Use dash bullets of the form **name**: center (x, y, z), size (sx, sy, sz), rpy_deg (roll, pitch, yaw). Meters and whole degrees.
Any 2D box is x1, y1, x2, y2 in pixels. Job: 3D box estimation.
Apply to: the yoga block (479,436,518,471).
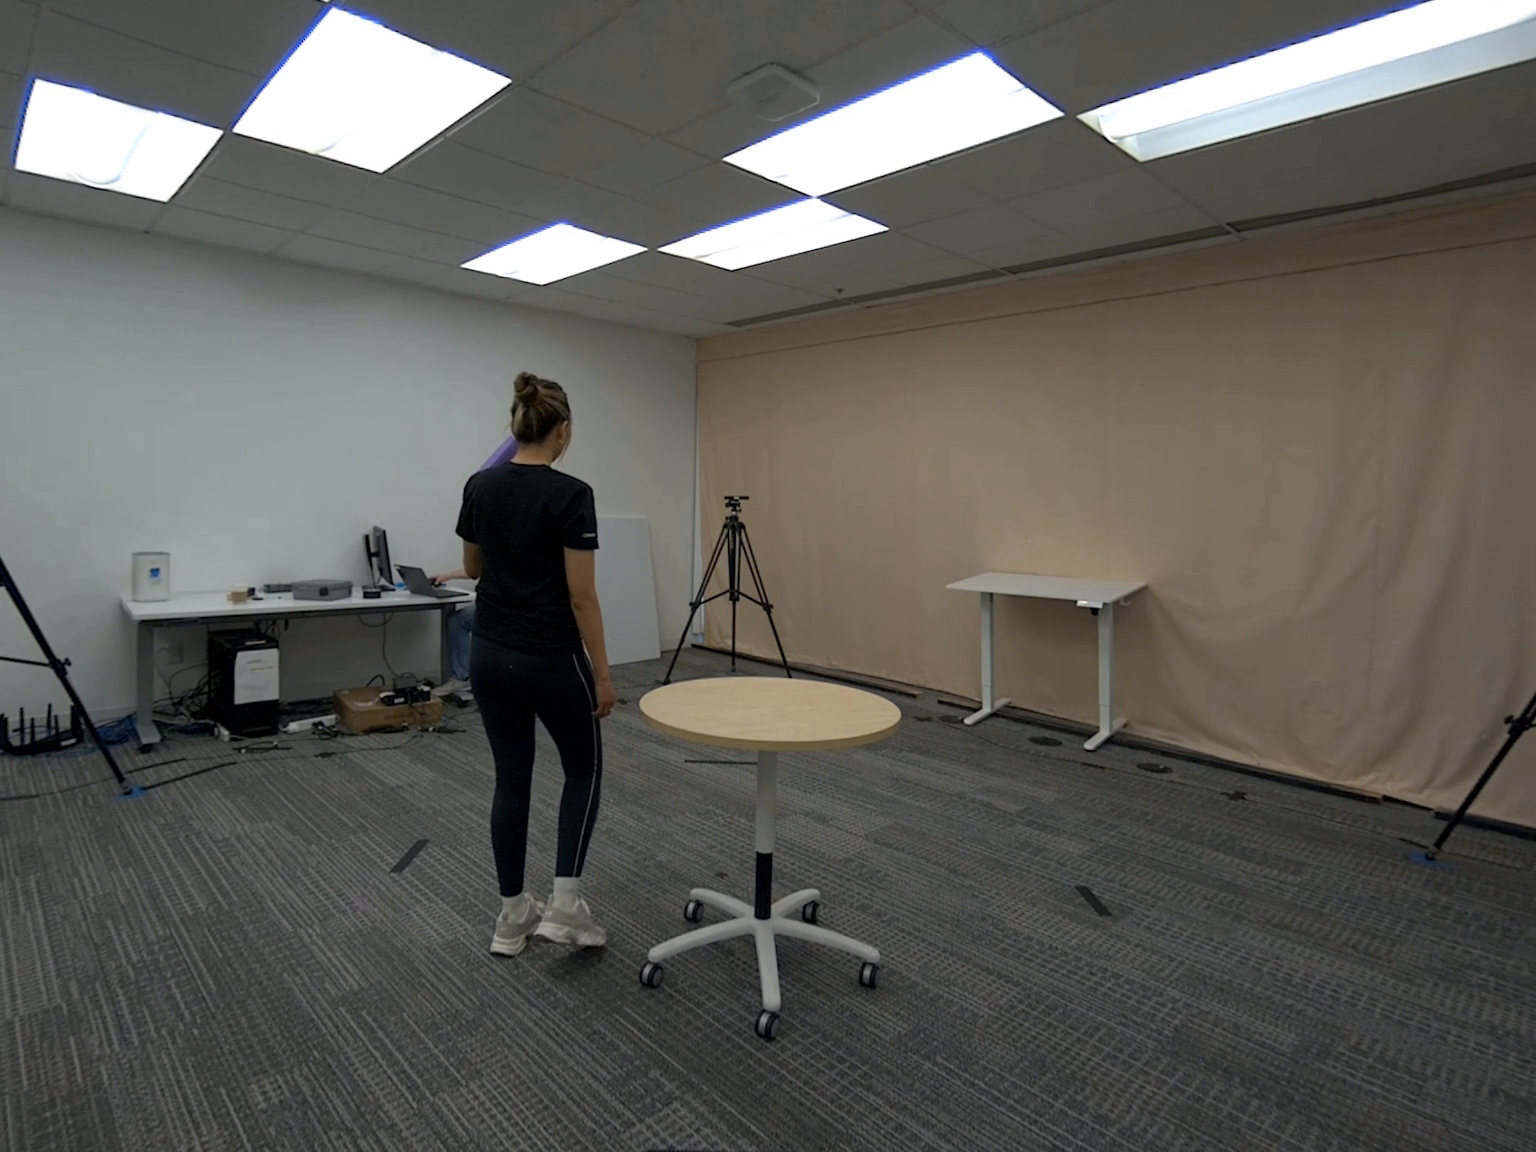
- **yoga block**: center (-0.905, -0.356, 2.950), size (0.079, 0.230, 0.144), rpy_deg (18, -24, 48)
